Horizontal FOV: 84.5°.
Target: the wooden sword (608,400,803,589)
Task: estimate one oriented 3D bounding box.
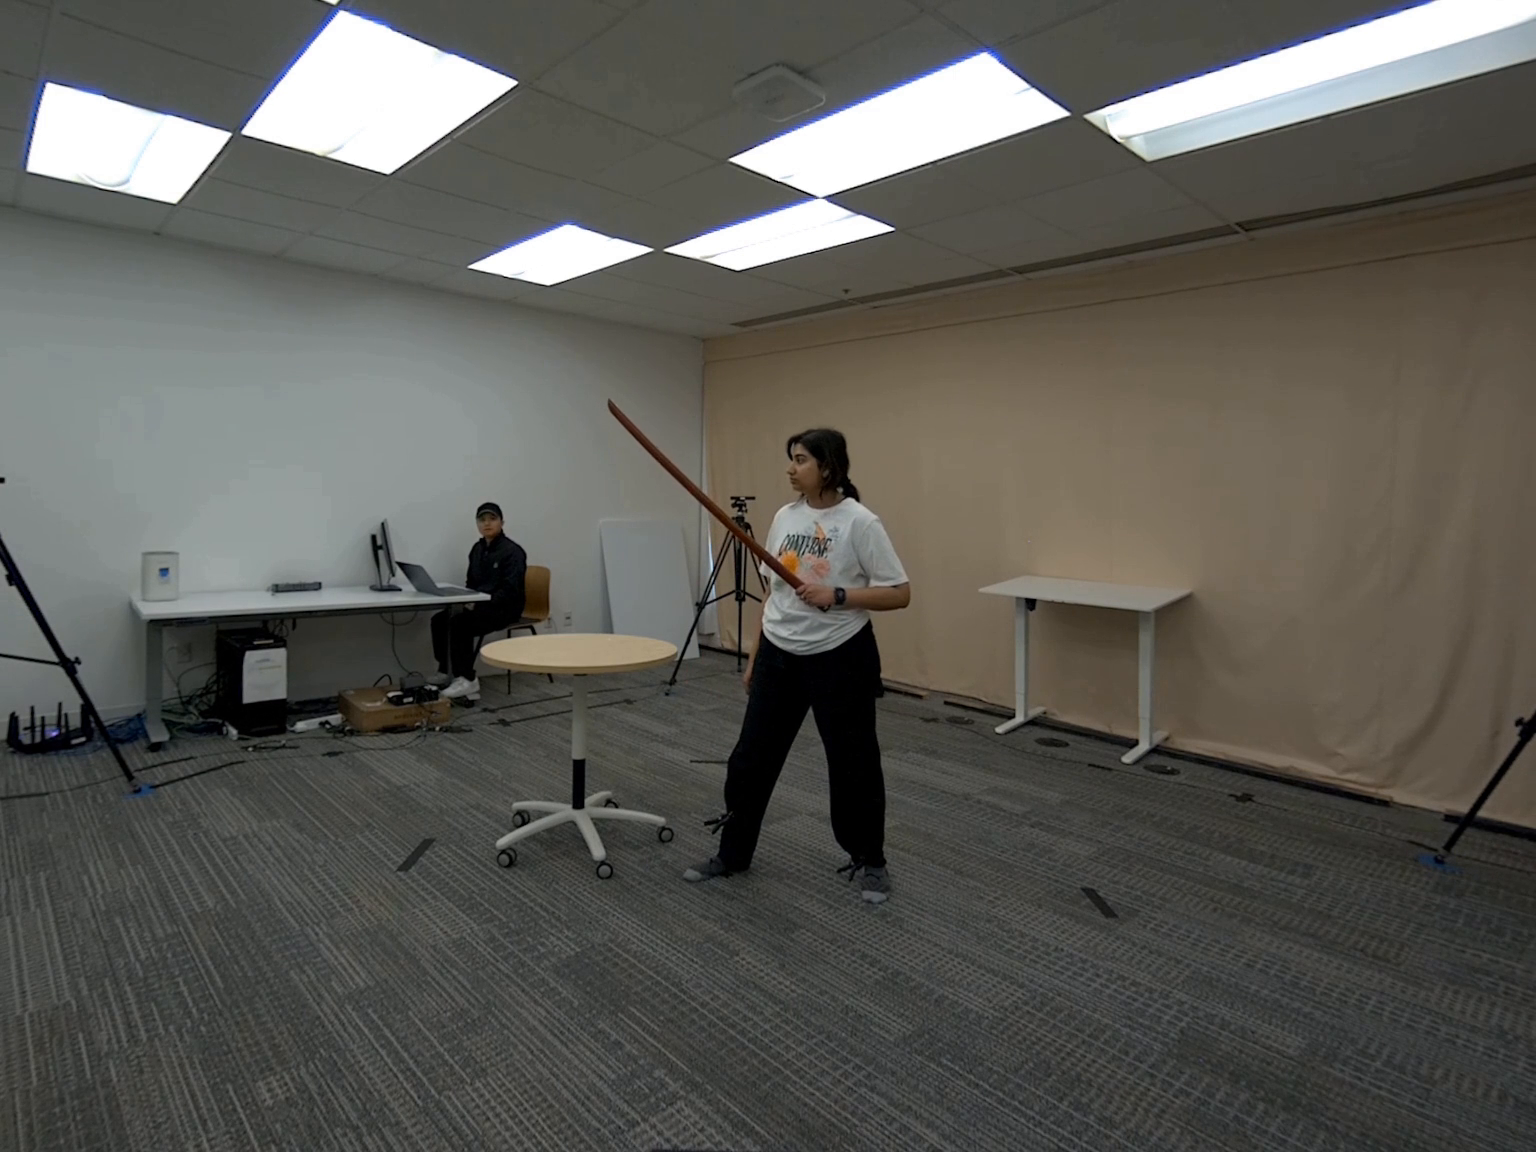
[{"bbox_3d":[-0.193,-0.228,2.839,0.051,1.026,0.024,-45,-2,41],"label":"wooden sword"}]
